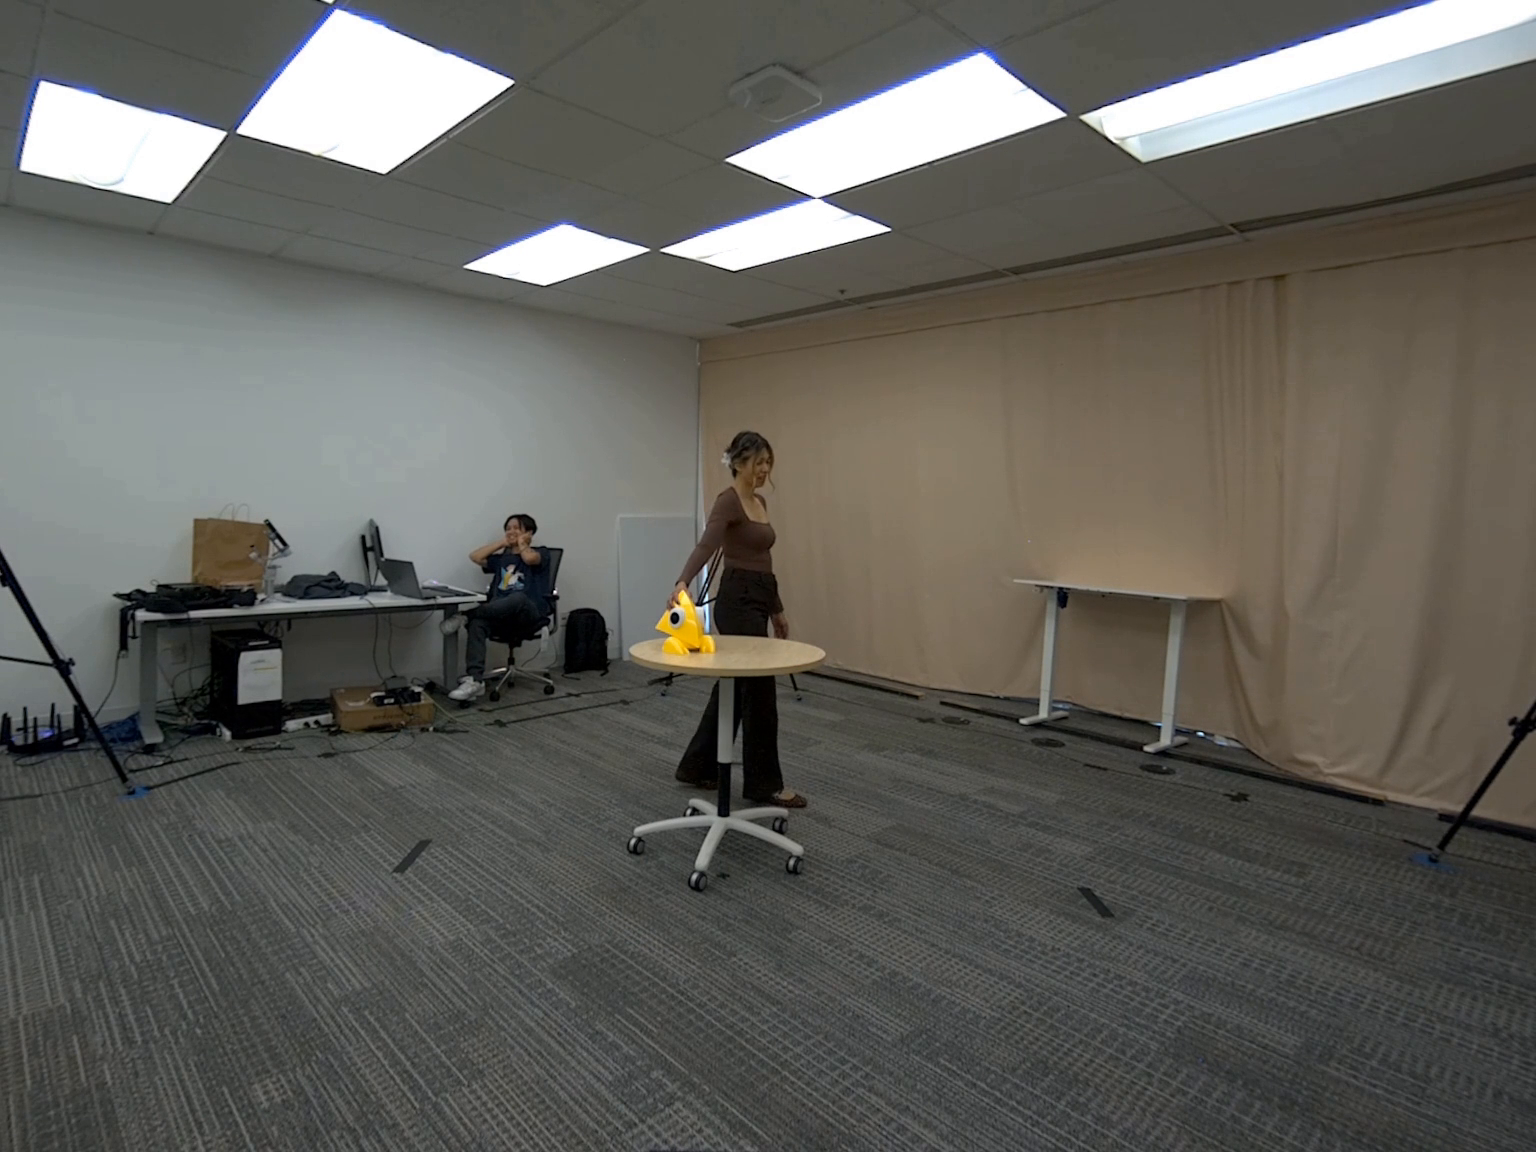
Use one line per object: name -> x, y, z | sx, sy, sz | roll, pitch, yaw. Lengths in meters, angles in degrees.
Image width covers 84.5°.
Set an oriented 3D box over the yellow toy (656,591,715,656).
yellow toy -> -0.318, 0.178, 3.274 | 0.201, 0.230, 0.197 | 0, 4, -27
